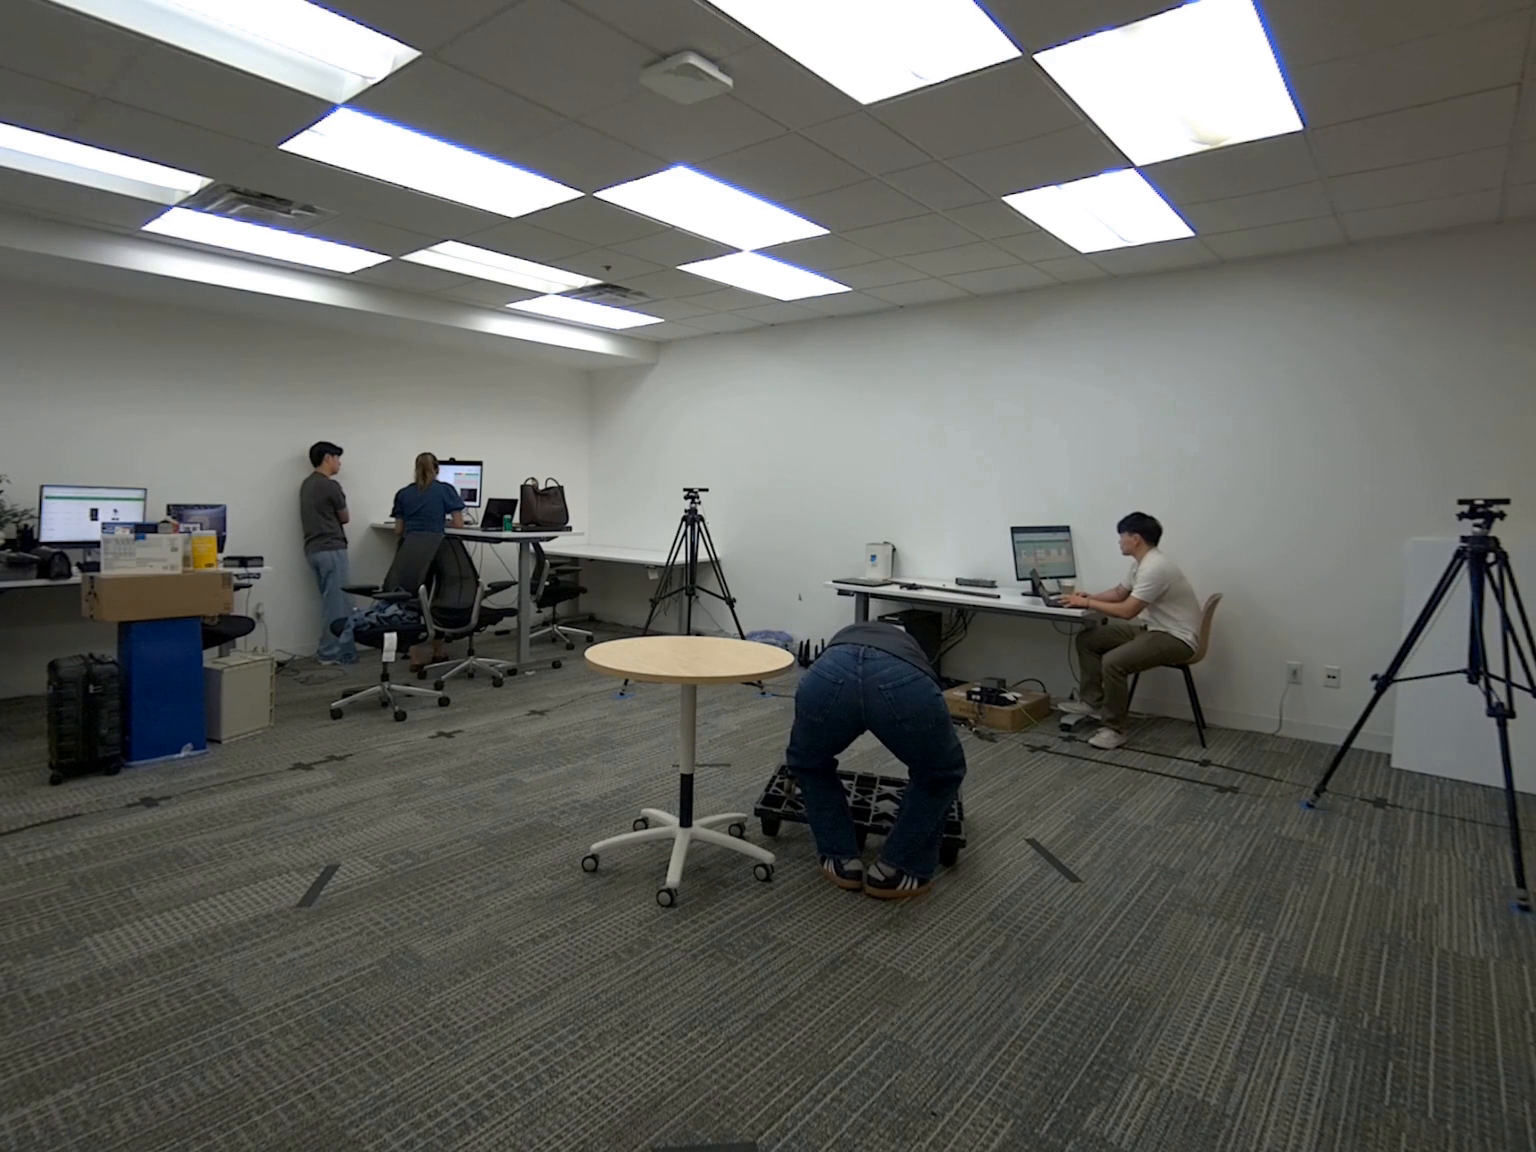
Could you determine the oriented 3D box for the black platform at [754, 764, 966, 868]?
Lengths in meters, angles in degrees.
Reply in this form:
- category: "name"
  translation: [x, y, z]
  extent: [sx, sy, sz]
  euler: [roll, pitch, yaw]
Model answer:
- category: "black platform"
  translation: [0.386, 0.960, 3.491]
  extent: [0.817, 0.143, 0.599]
  euler: [4, 6, 12]
